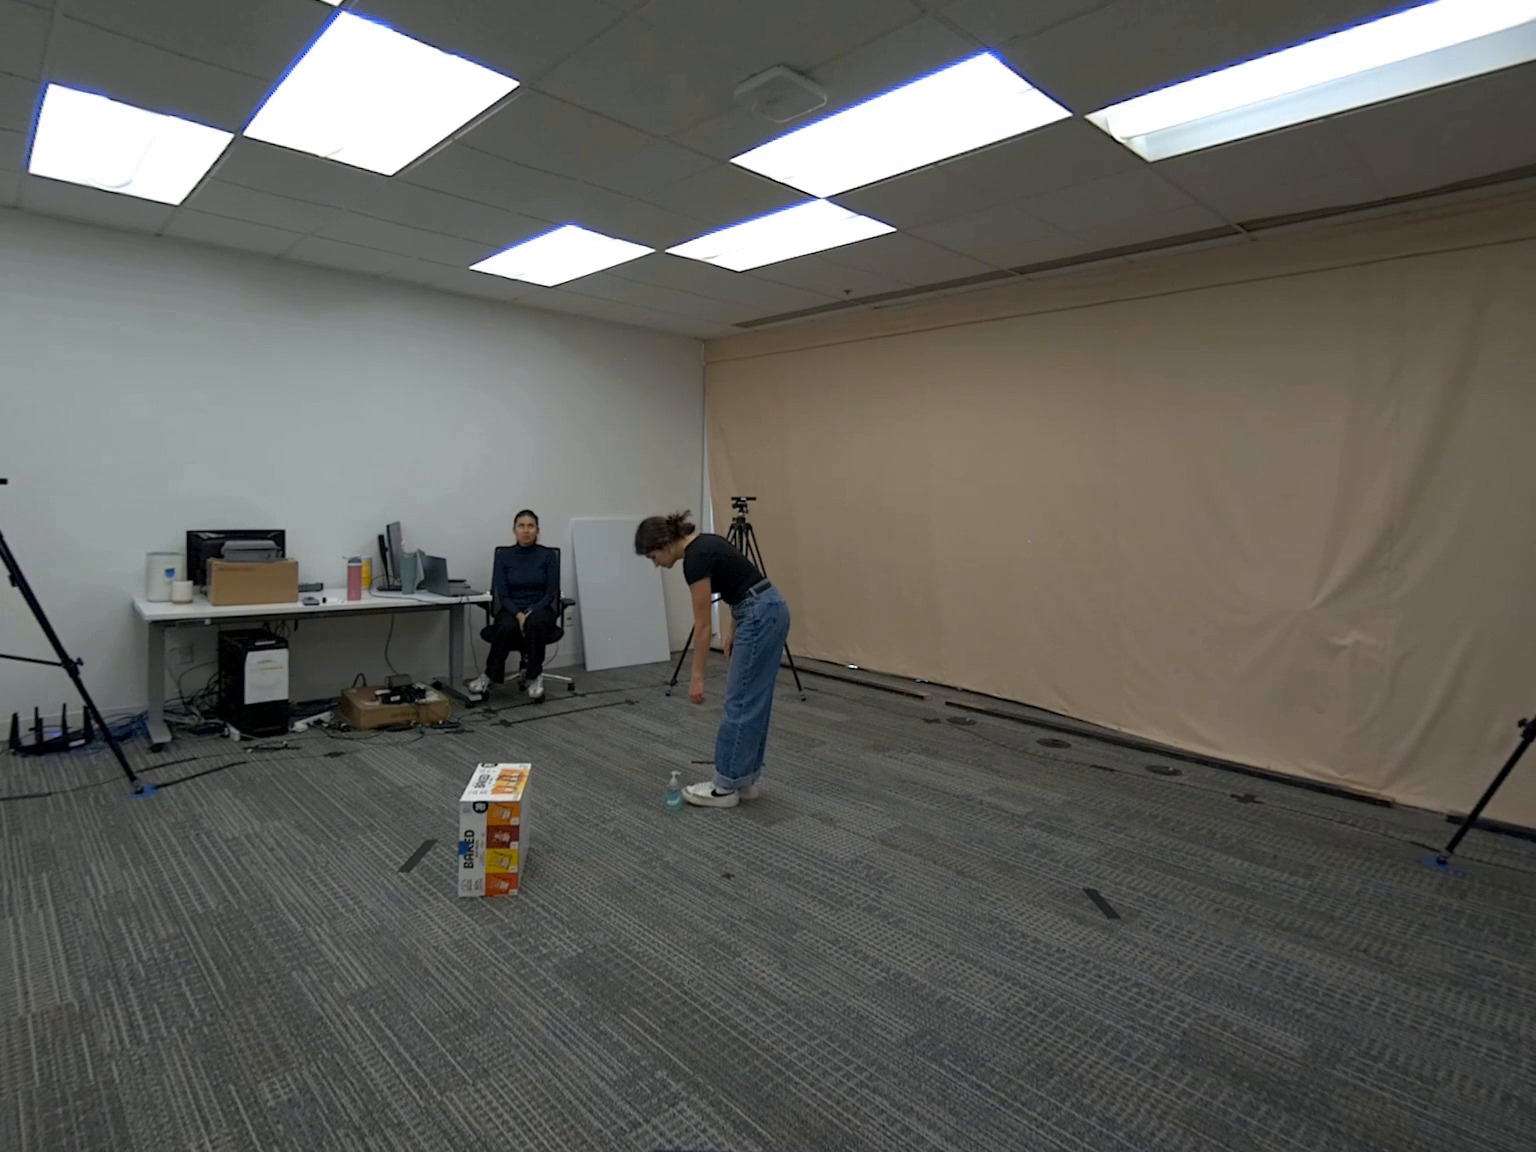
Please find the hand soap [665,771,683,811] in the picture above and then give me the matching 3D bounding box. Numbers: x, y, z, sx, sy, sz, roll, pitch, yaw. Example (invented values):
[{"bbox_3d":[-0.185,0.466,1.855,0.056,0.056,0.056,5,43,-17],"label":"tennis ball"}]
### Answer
[{"bbox_3d":[-0.435,0.964,3.767,0.085,0.168,0.043,1,3,7],"label":"hand soap"}]
